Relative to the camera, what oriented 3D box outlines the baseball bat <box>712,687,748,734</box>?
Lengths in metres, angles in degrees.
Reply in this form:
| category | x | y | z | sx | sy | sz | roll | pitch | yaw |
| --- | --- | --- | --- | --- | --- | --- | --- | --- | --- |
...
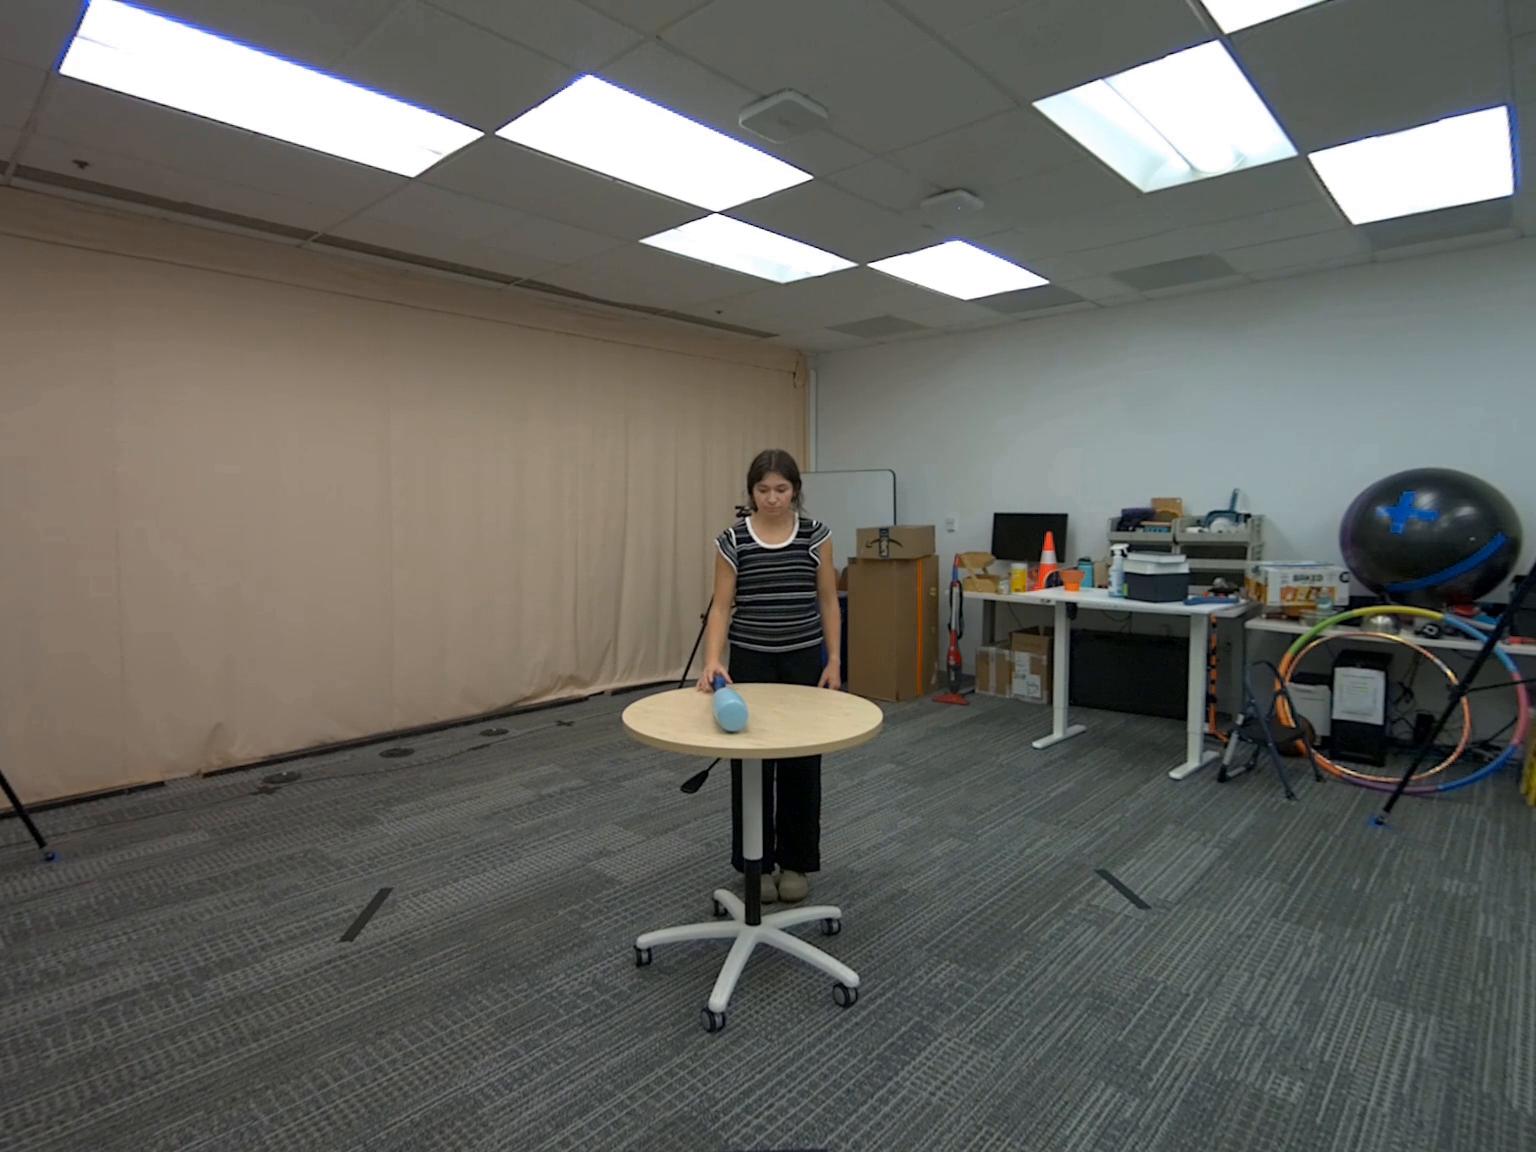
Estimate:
| category | x | y | z | sx | sy | sz | roll | pitch | yaw |
| --- | --- | --- | --- | --- | --- | --- | --- | --- | --- |
| baseball bat | -0.124 | 0.363 | 2.508 | 0.088 | 0.089 | 0.547 | 0 | 2 | -8 |
